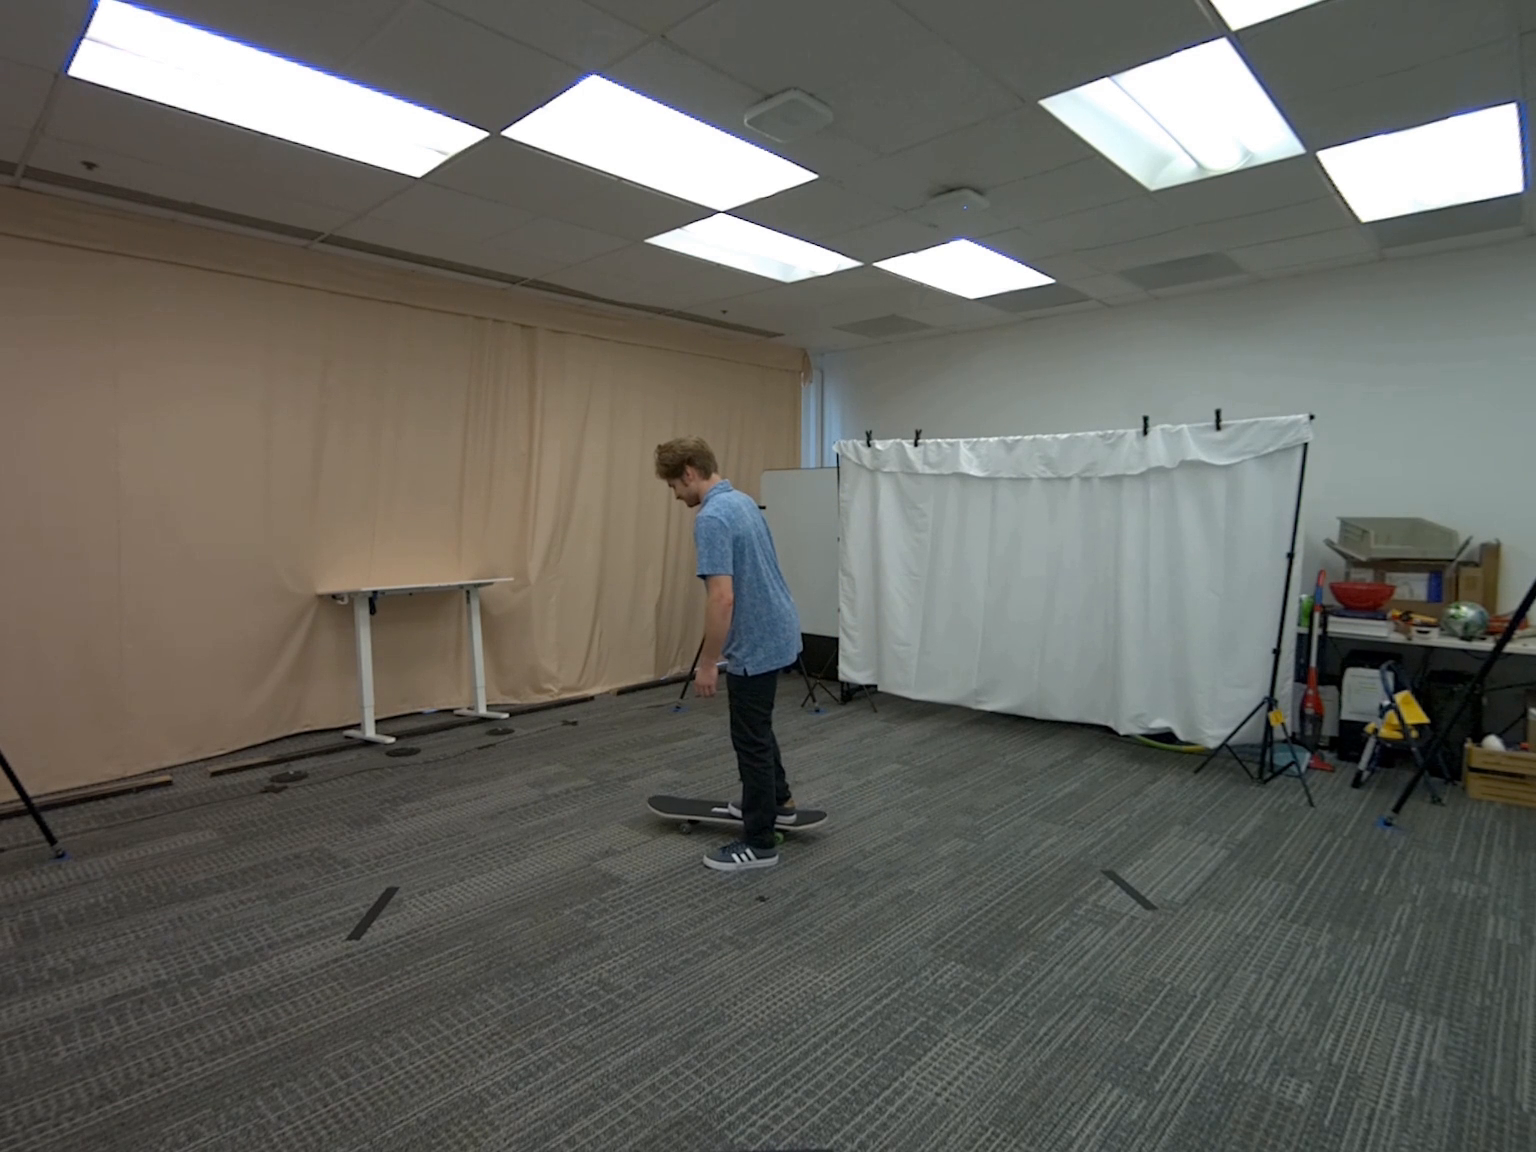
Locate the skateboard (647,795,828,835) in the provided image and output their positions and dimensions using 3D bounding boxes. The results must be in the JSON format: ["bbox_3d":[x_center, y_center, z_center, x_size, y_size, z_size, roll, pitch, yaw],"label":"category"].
[{"bbox_3d":[-0.132,1.032,3.590,0.797,0.110,0.191,1,7,14],"label":"skateboard"}]
